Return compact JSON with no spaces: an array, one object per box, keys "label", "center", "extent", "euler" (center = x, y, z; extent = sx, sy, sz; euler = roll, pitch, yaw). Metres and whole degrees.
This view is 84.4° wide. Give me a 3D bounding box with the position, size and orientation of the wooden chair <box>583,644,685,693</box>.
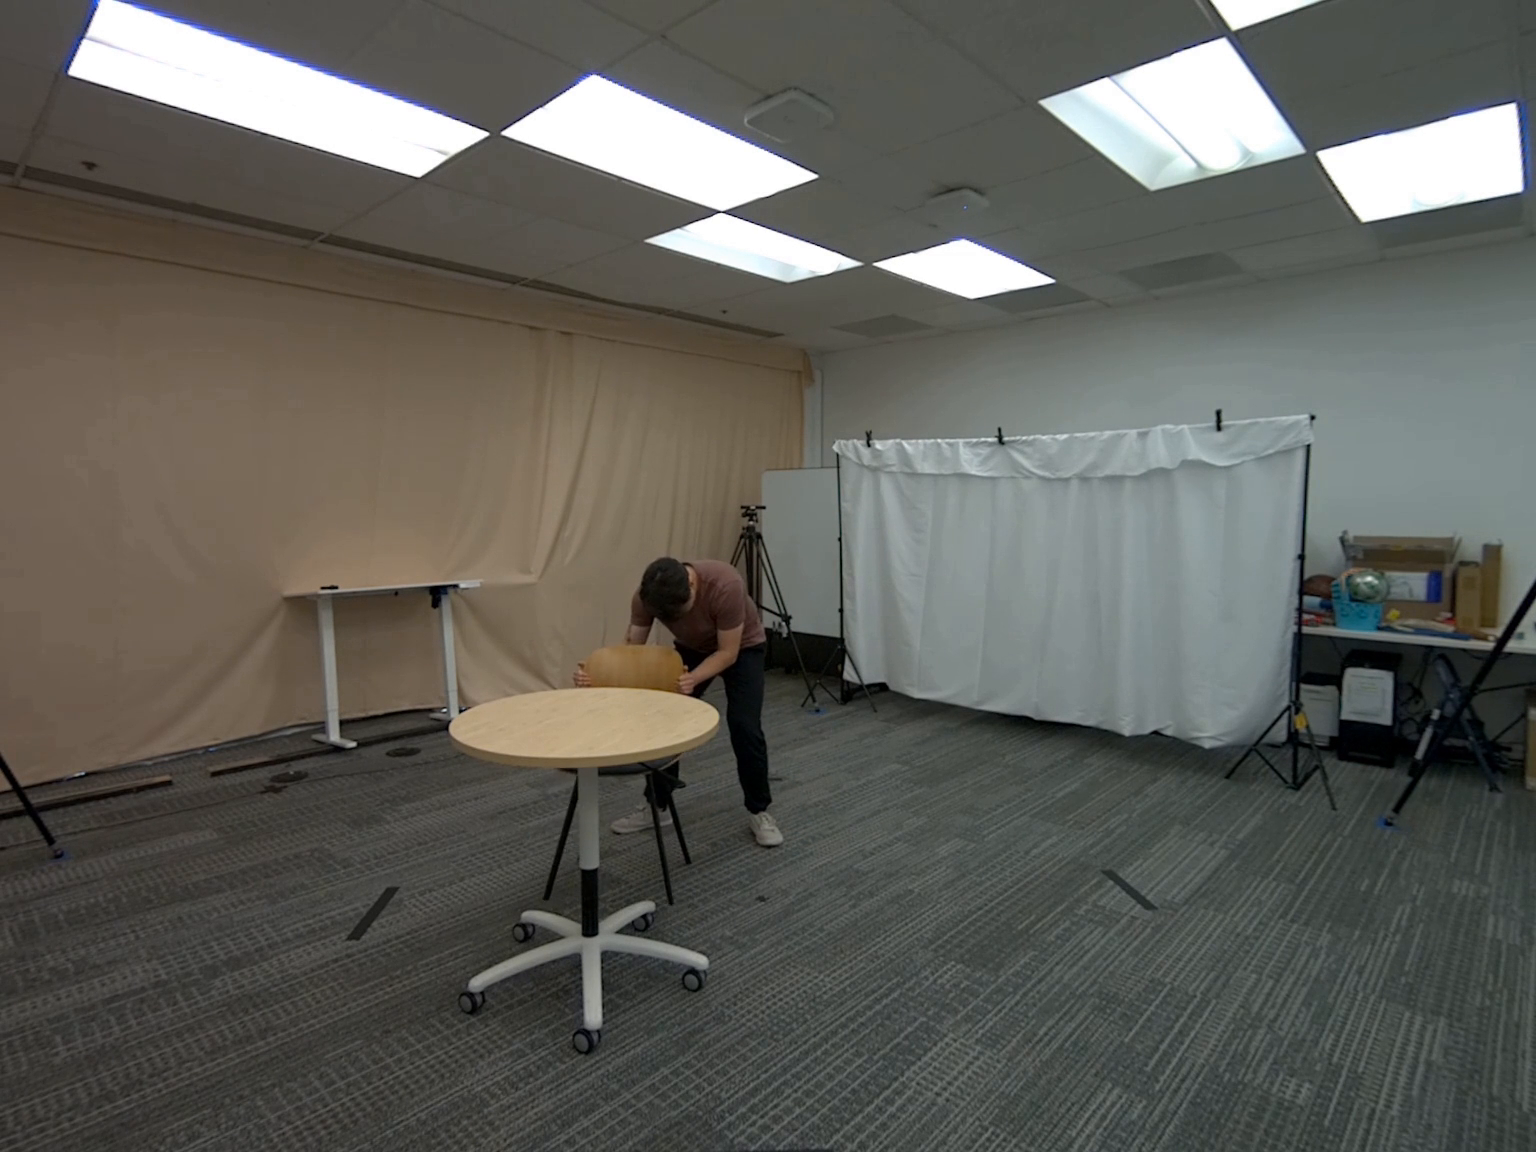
[{"label":"wooden chair","center":[-0.529,0.692,3.087],"extent":[0.481,0.881,0.517],"euler":[0,-7,5]}]
